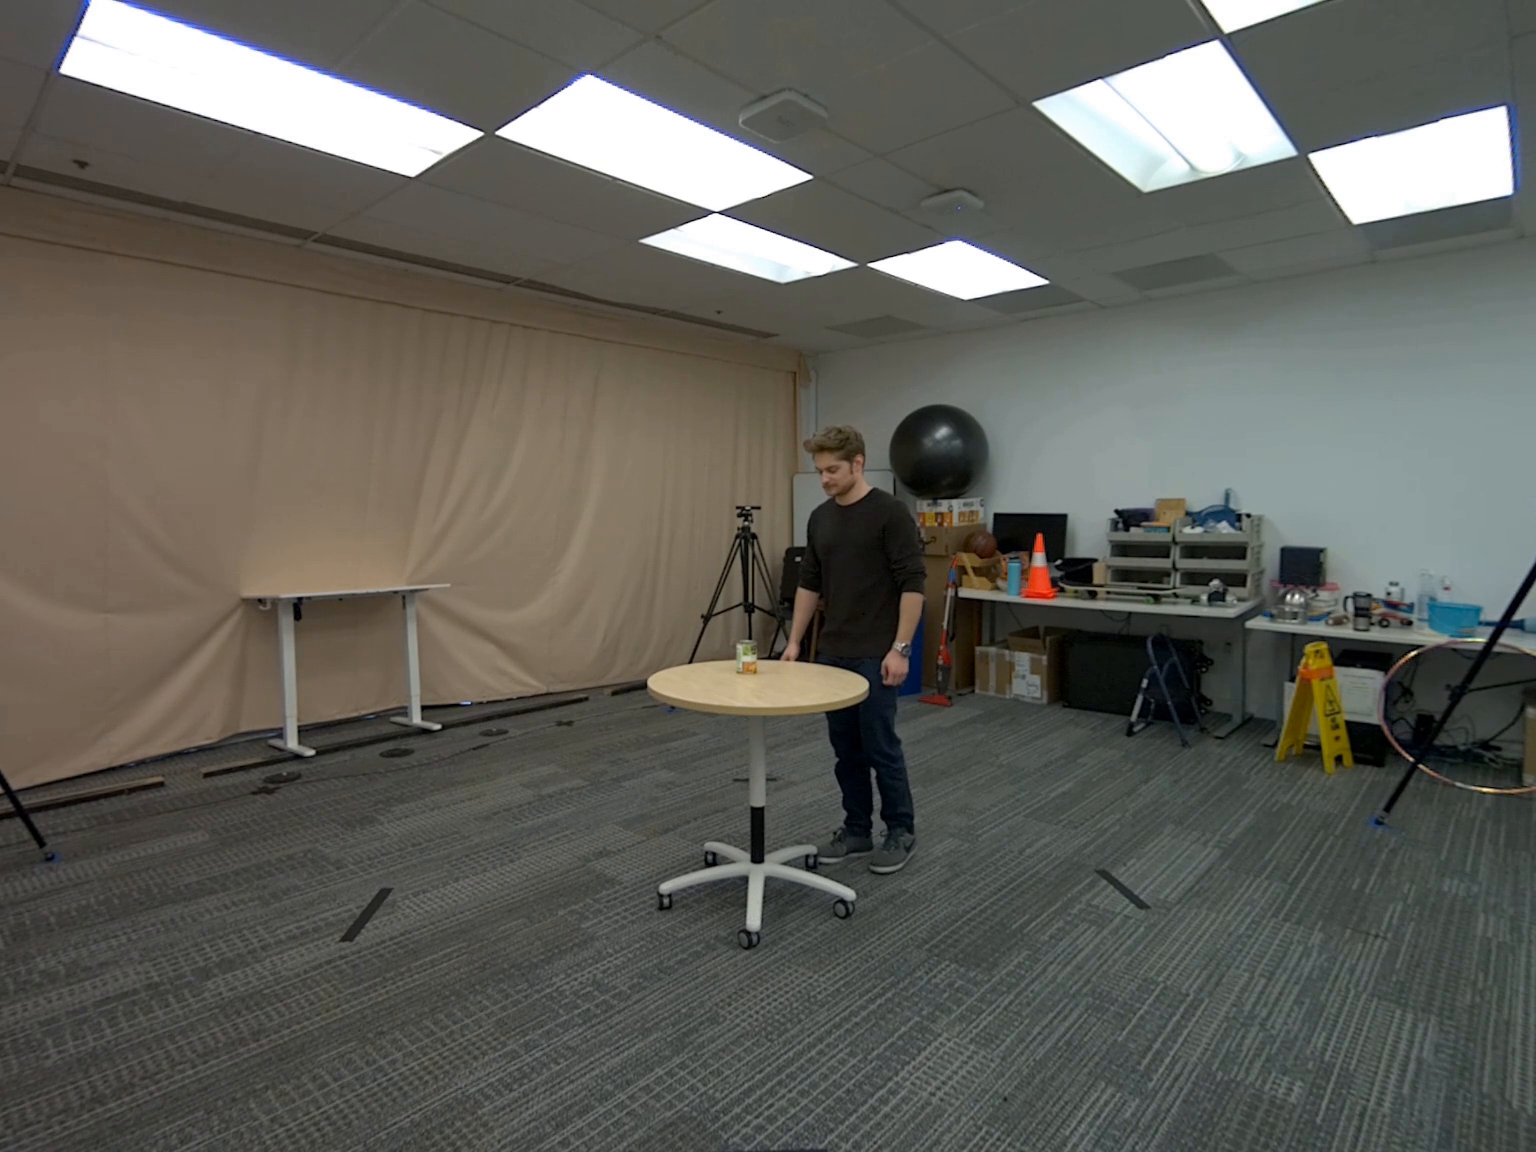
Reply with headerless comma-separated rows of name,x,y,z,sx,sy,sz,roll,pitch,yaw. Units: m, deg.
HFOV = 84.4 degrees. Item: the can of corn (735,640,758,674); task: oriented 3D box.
can of corn,-0.075,0.300,3.063,0.074,0.111,0.074,-2,3,-2
